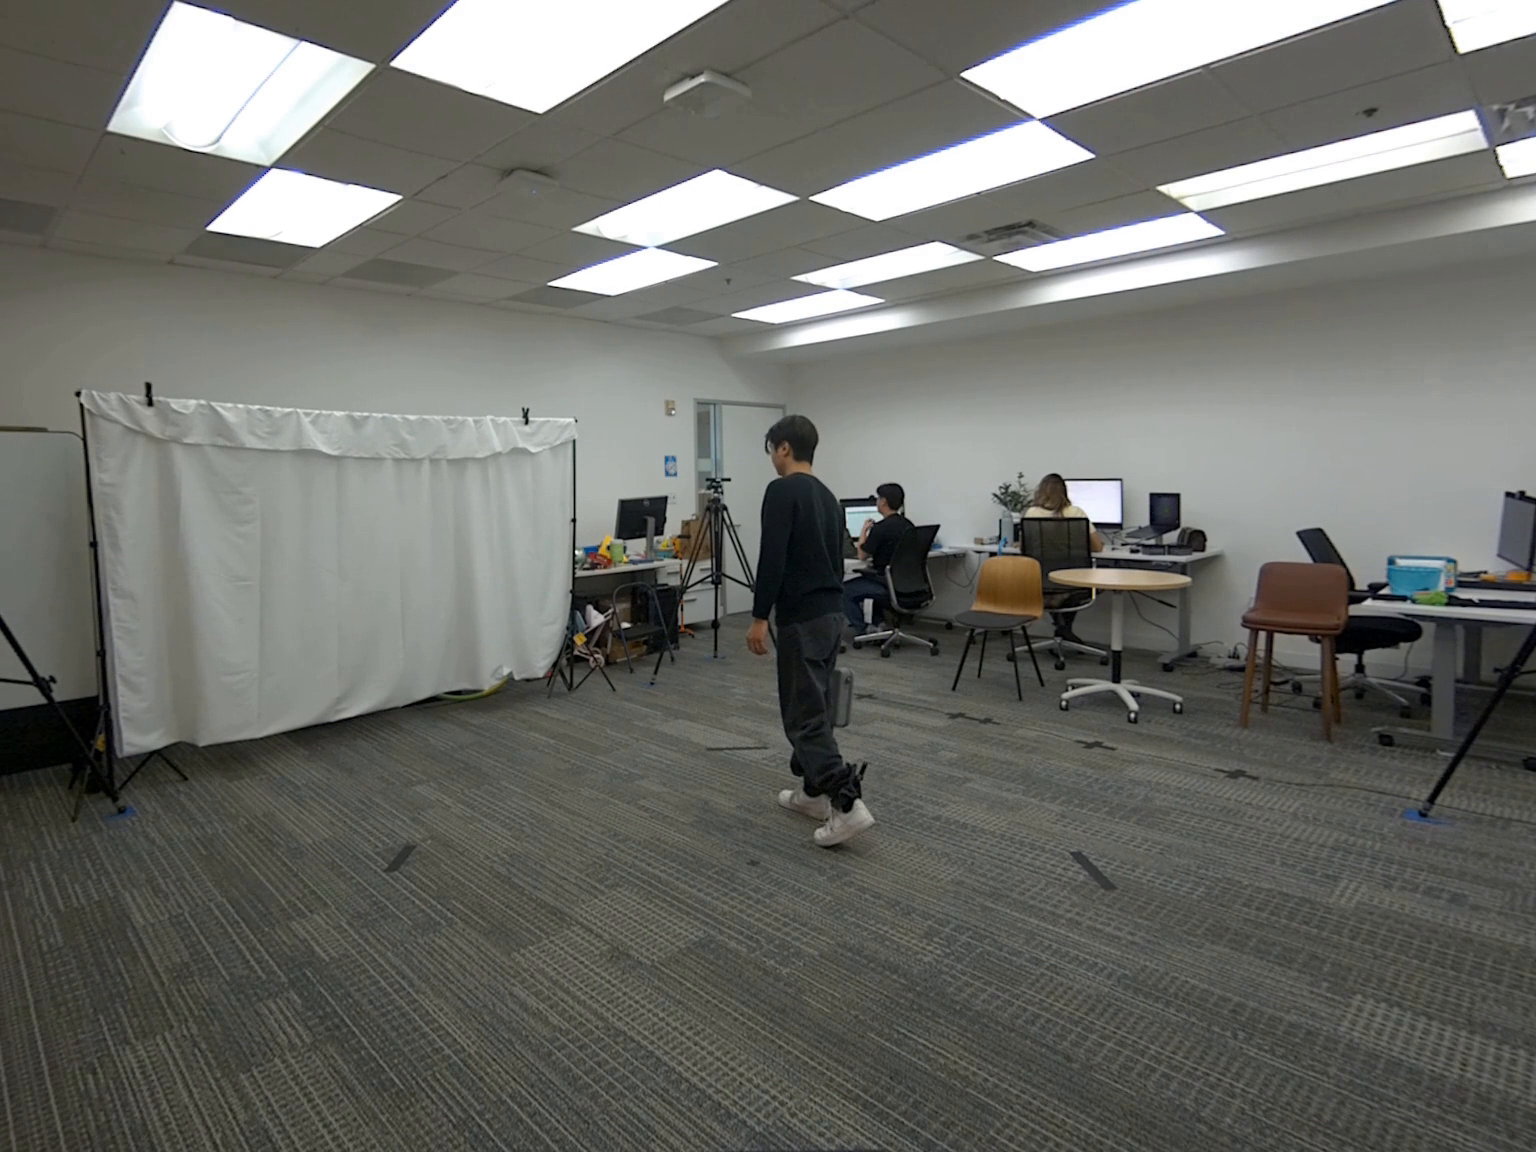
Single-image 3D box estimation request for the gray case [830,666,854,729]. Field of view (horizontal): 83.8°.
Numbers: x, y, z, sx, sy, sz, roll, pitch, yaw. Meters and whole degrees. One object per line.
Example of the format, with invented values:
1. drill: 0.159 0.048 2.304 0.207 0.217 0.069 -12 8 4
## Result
1. gray case: 0.252 0.507 3.710 0.101 0.261 0.265 8 -4 -44
